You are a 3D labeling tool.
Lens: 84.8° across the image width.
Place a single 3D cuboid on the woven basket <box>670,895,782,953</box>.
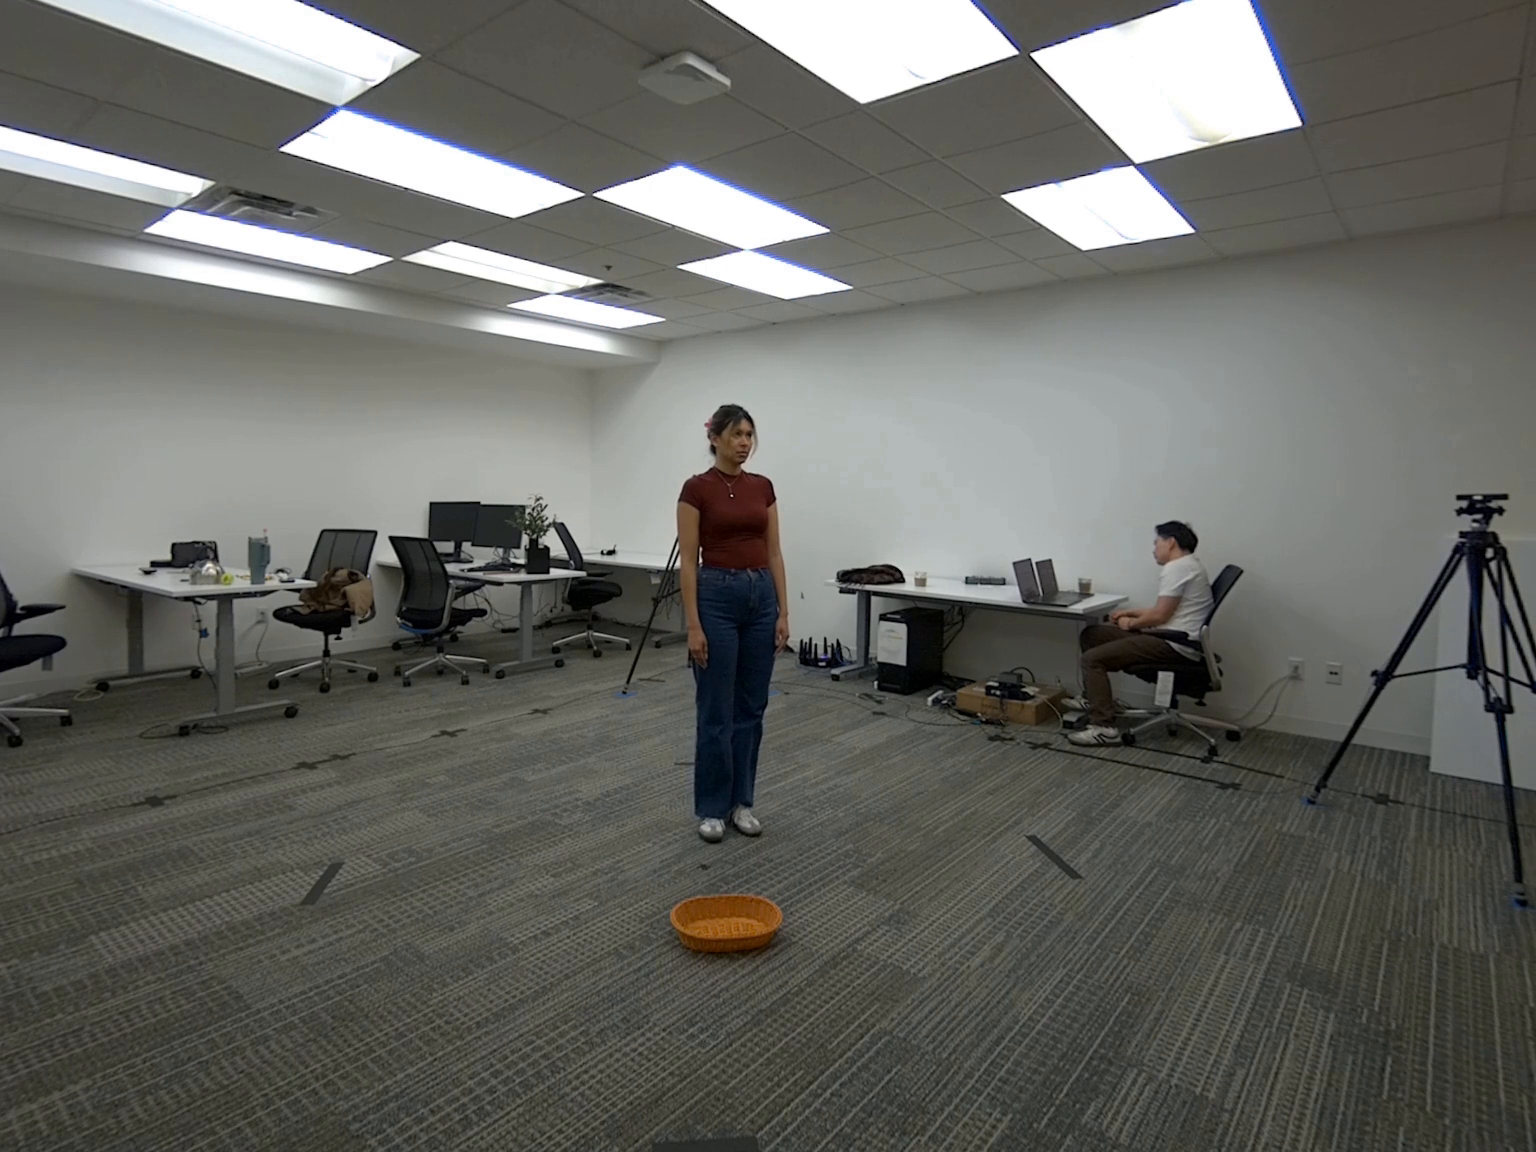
[{"bbox_3d":[-0.137,1.072,2.630,0.347,0.073,0.256,0,7,-10],"label":"woven basket"}]
